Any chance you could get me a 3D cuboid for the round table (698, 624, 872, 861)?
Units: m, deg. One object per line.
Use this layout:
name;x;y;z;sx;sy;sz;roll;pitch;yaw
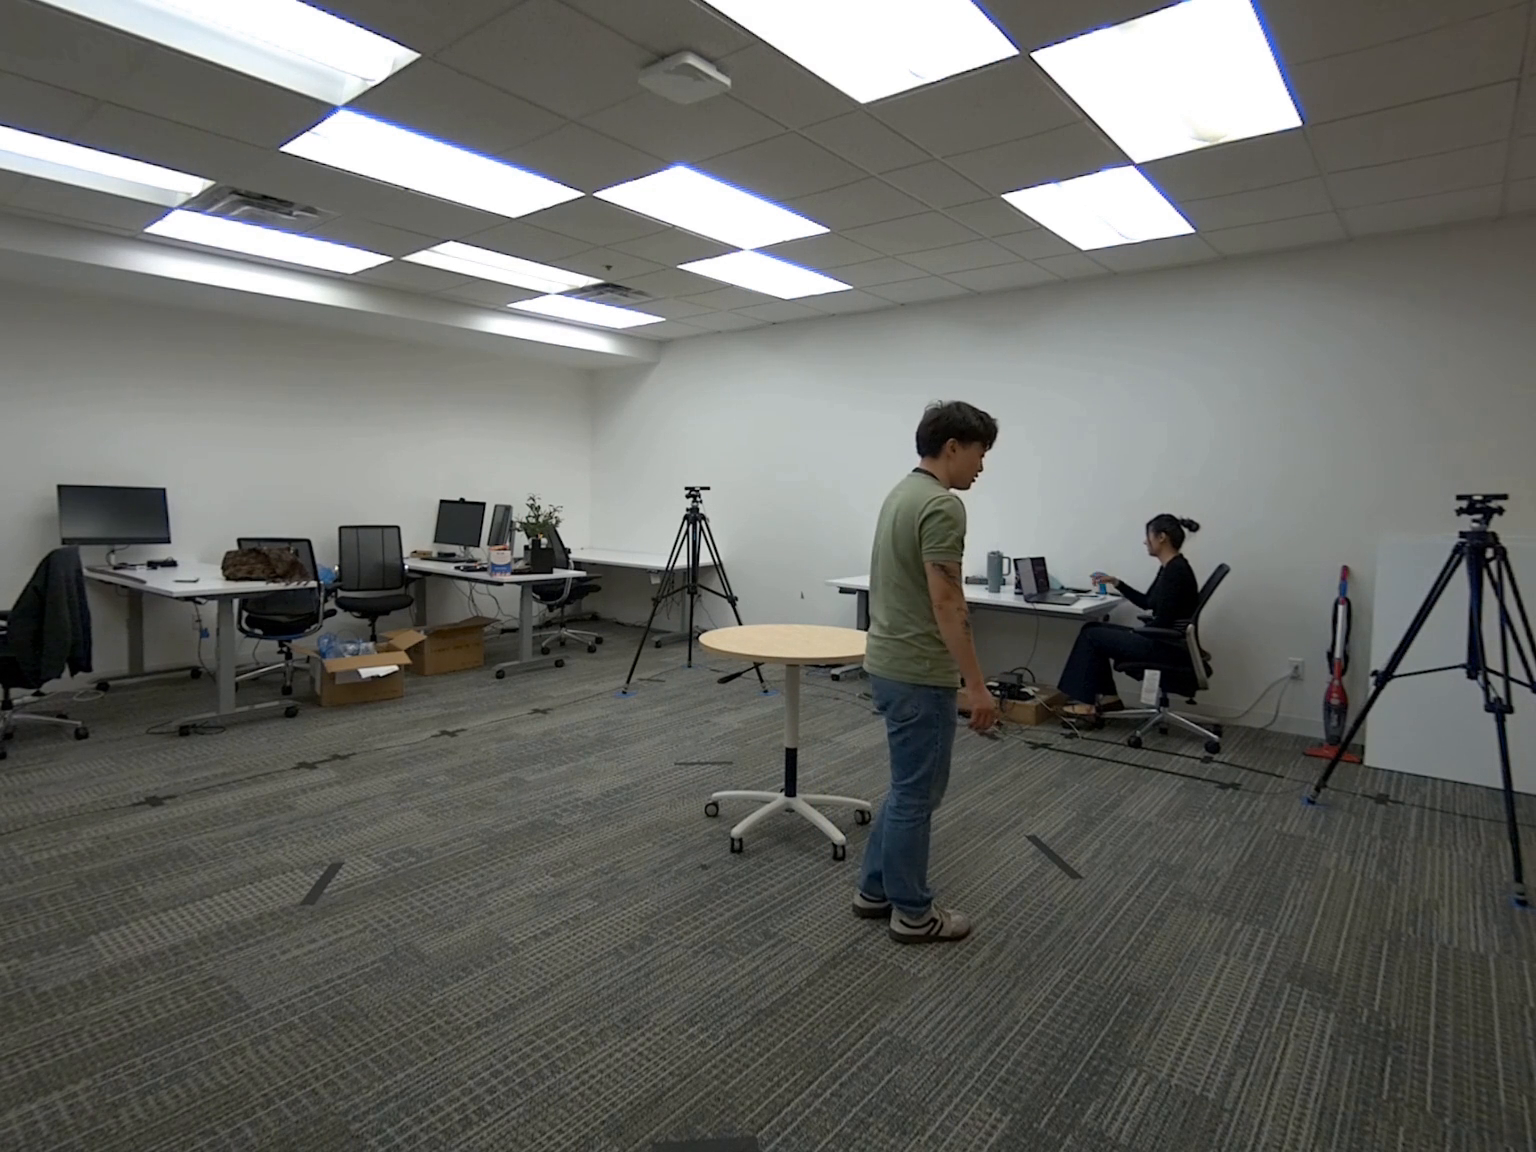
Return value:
round table;0.085;0.646;3.467;0.763;0.791;0.768;1;4;-2
